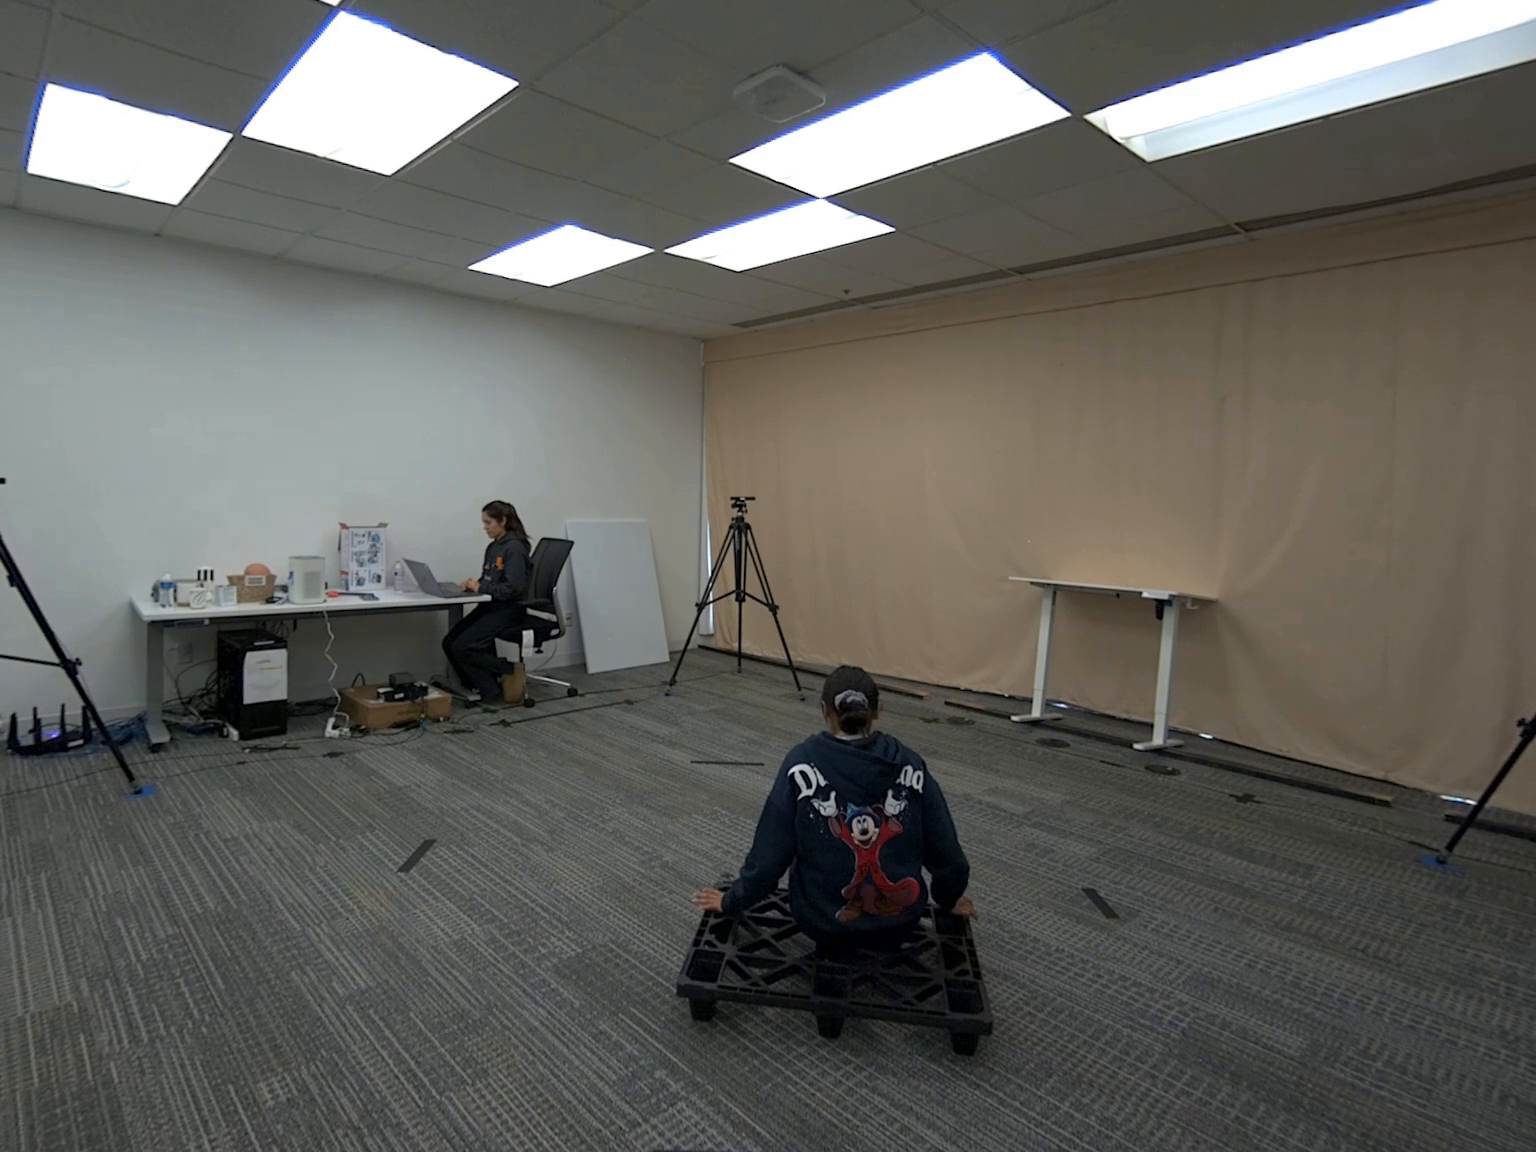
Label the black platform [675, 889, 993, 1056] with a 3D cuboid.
[{"bbox_3d":[0.188,1.111,2.406,0.811,0.143,0.603,2,6,7],"label":"black platform"}]
